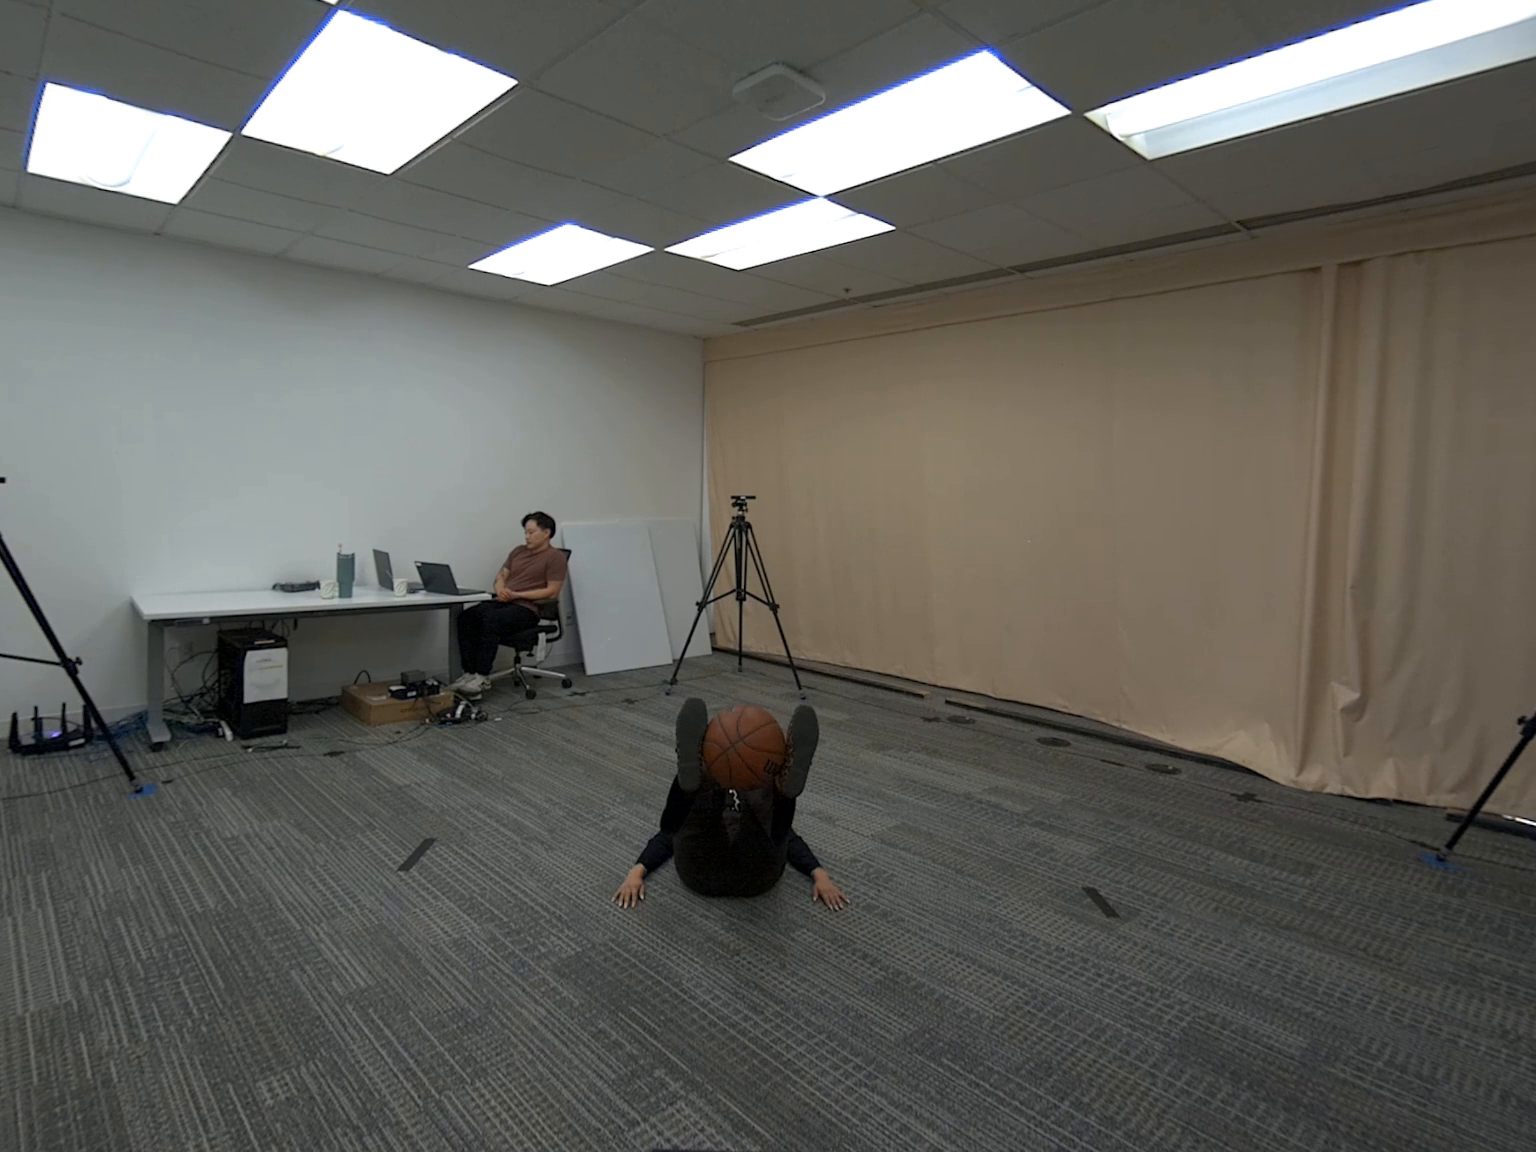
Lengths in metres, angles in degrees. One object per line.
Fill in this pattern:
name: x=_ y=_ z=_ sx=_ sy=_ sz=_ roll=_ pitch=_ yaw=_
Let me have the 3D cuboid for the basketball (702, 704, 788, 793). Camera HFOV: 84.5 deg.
basketball: x=-0.075 y=0.479 z=2.352 sx=0.235 sy=0.235 sz=0.237 roll=4 pitch=5 yaw=-2
